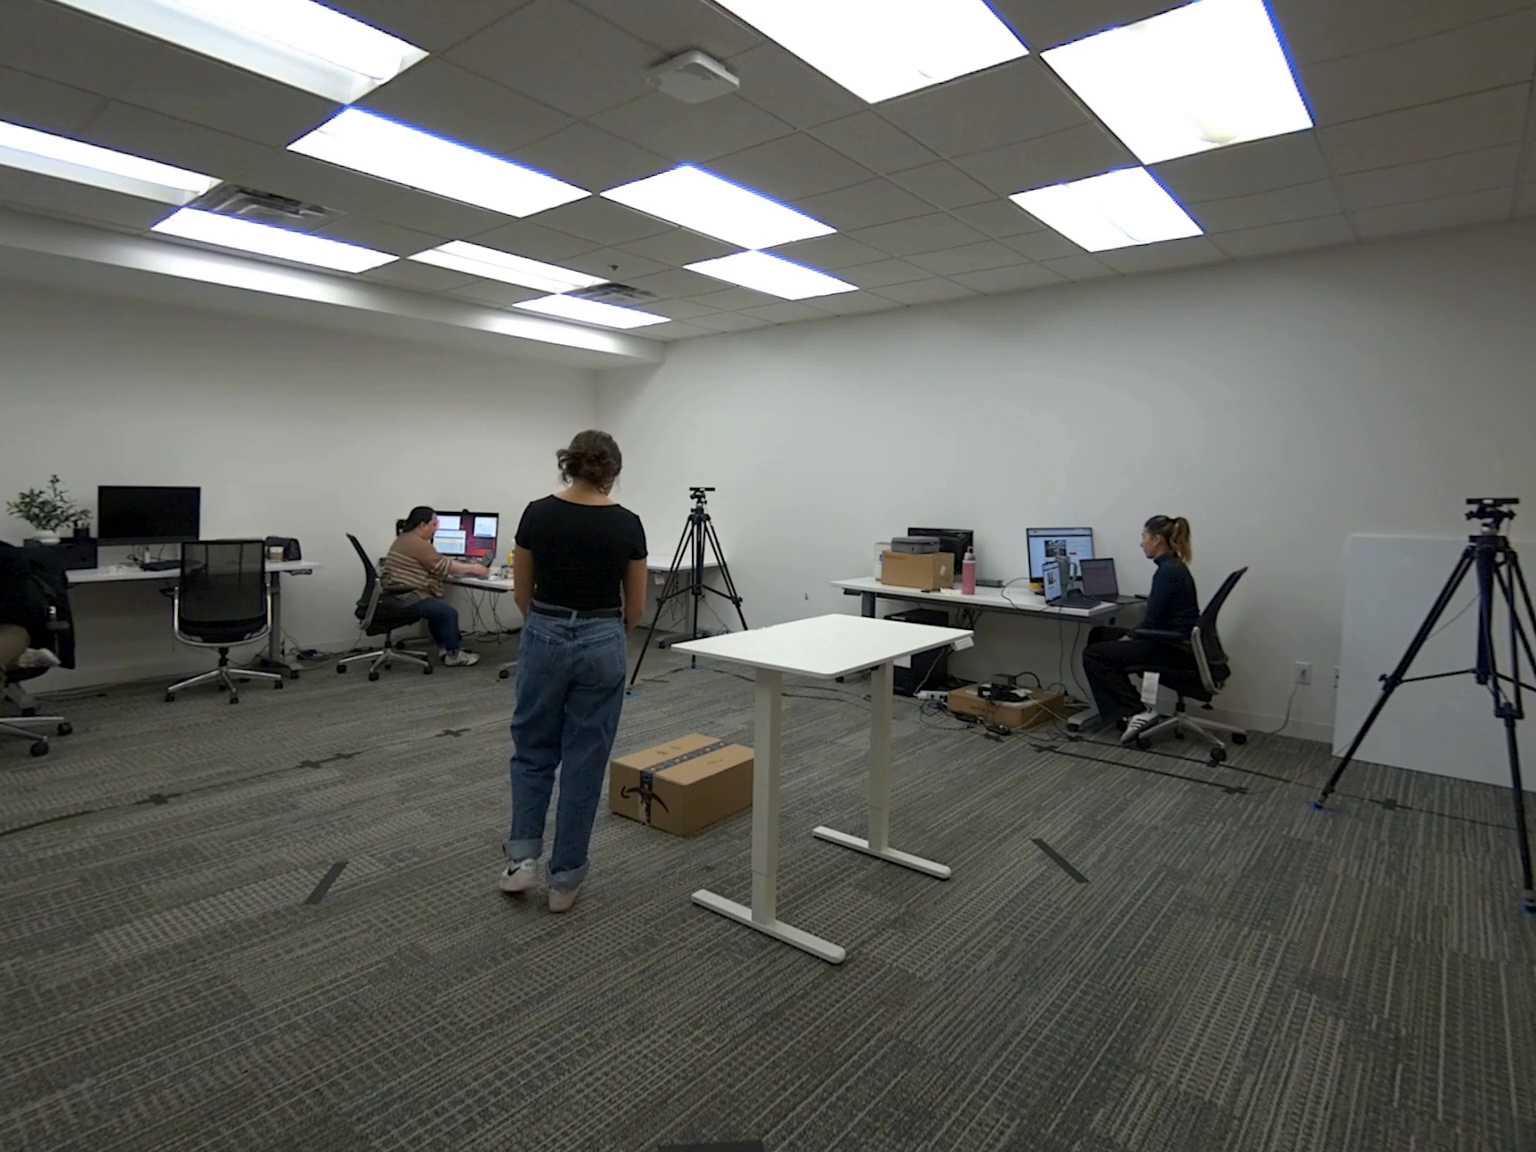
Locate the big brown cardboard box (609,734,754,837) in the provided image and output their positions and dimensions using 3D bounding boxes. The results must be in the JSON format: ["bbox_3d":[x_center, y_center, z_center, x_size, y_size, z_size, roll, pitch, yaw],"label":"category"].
[{"bbox_3d":[-0.352,0.892,3.719,0.431,0.232,0.572,6,6,36],"label":"big brown cardboard box"}]
